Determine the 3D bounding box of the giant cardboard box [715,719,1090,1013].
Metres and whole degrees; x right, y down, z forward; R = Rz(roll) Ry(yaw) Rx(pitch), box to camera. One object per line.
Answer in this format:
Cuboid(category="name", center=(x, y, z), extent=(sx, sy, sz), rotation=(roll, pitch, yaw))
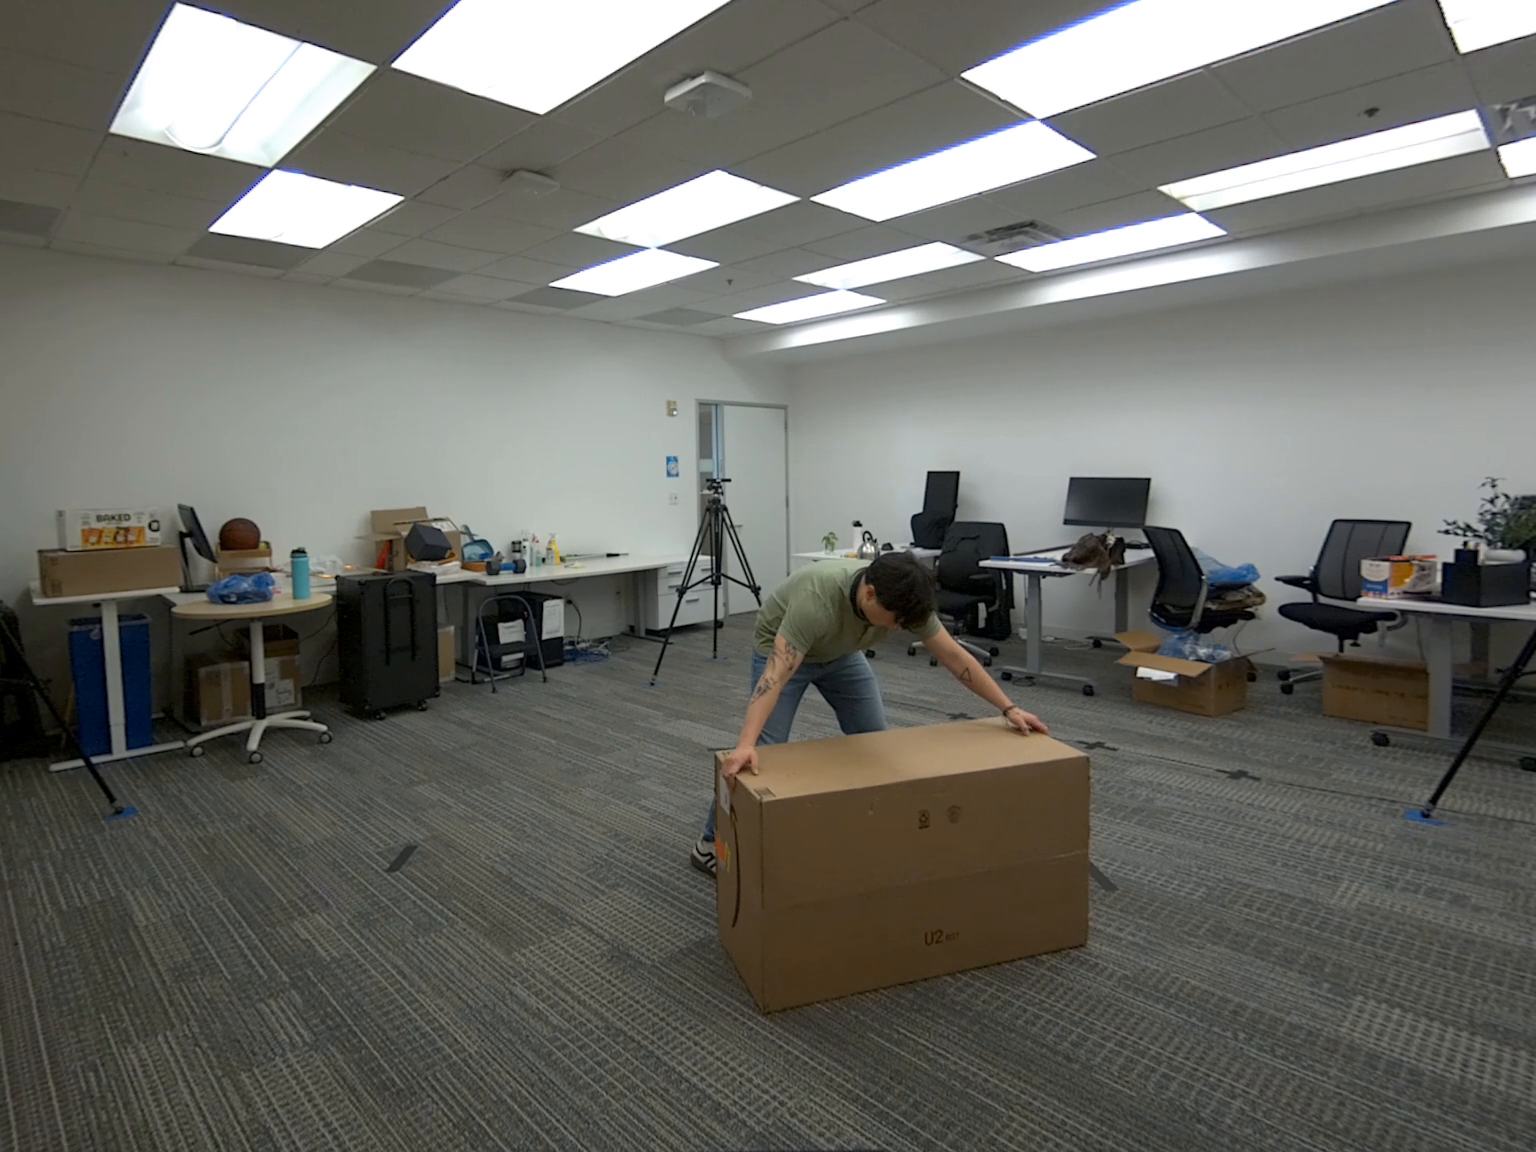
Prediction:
Cuboid(category="giant cardboard box", center=(0.391, 0.808, 2.556), extent=(1.010, 0.575, 0.434), rotation=(-3, 5, -17))
